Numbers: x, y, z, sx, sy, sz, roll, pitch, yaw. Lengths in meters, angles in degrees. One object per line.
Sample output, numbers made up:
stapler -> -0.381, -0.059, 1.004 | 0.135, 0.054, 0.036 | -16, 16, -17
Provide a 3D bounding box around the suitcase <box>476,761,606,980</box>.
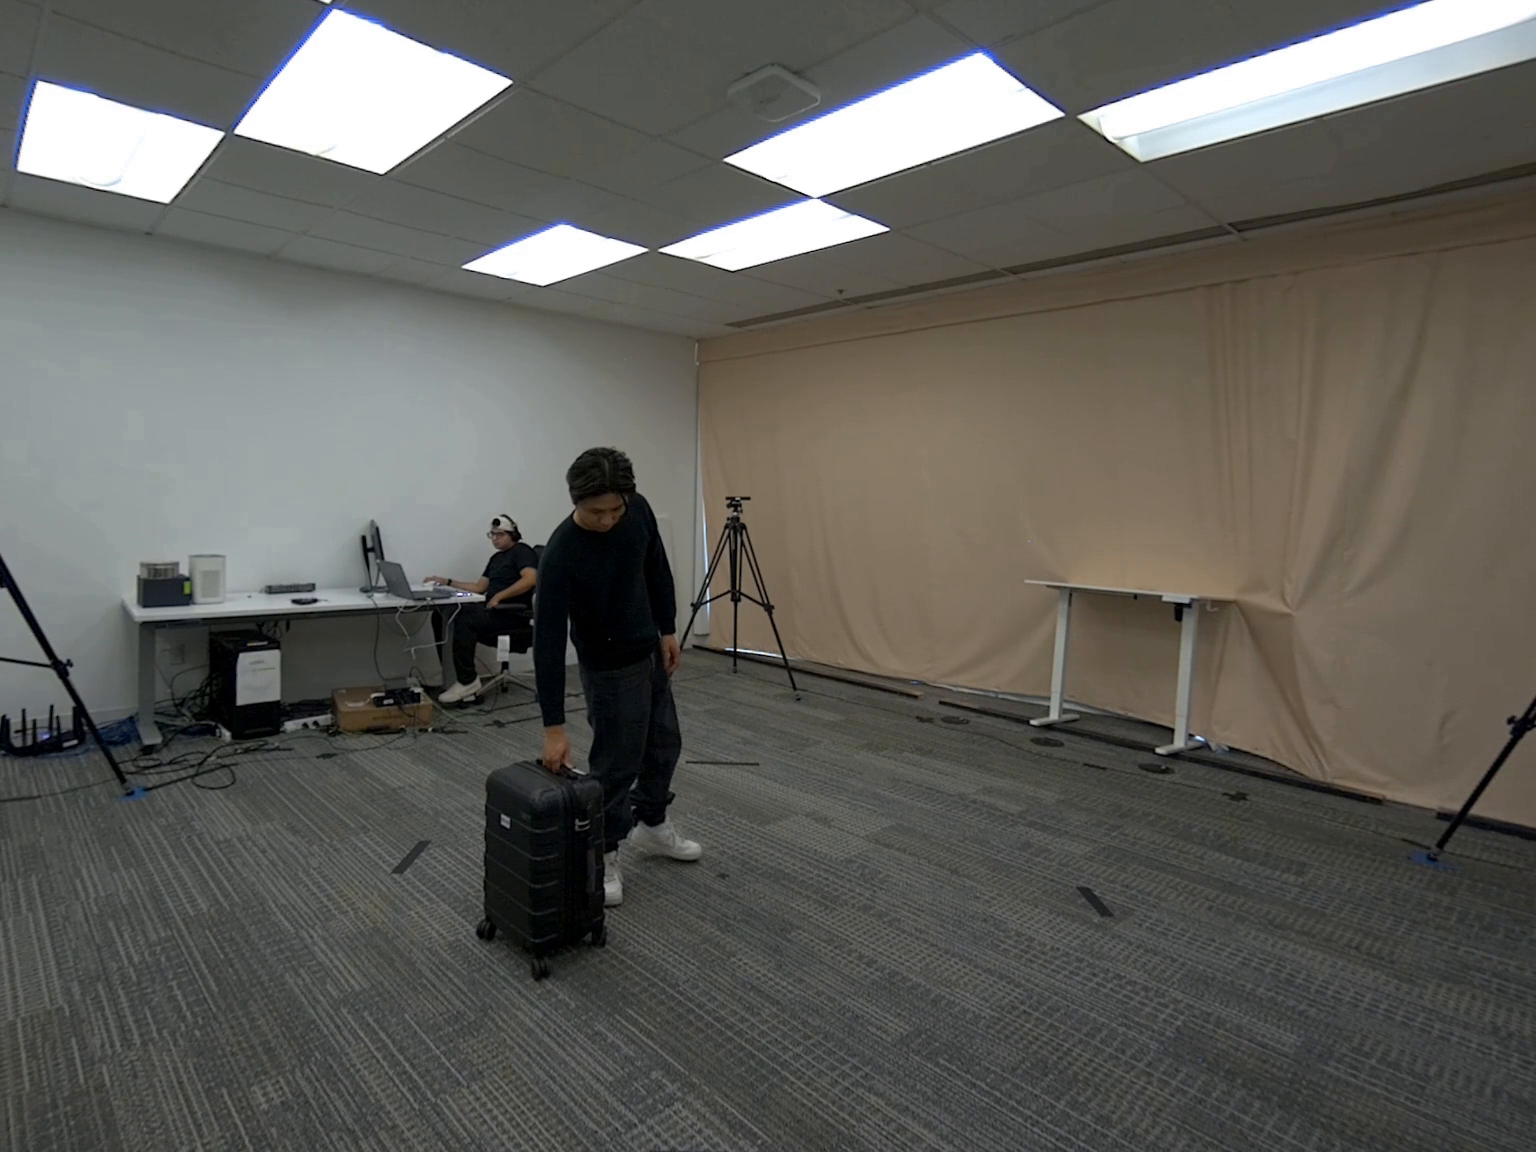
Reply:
suitcase -> -0.705, 0.867, 2.600 | 0.242, 0.548, 0.385 | -2, 5, -44
